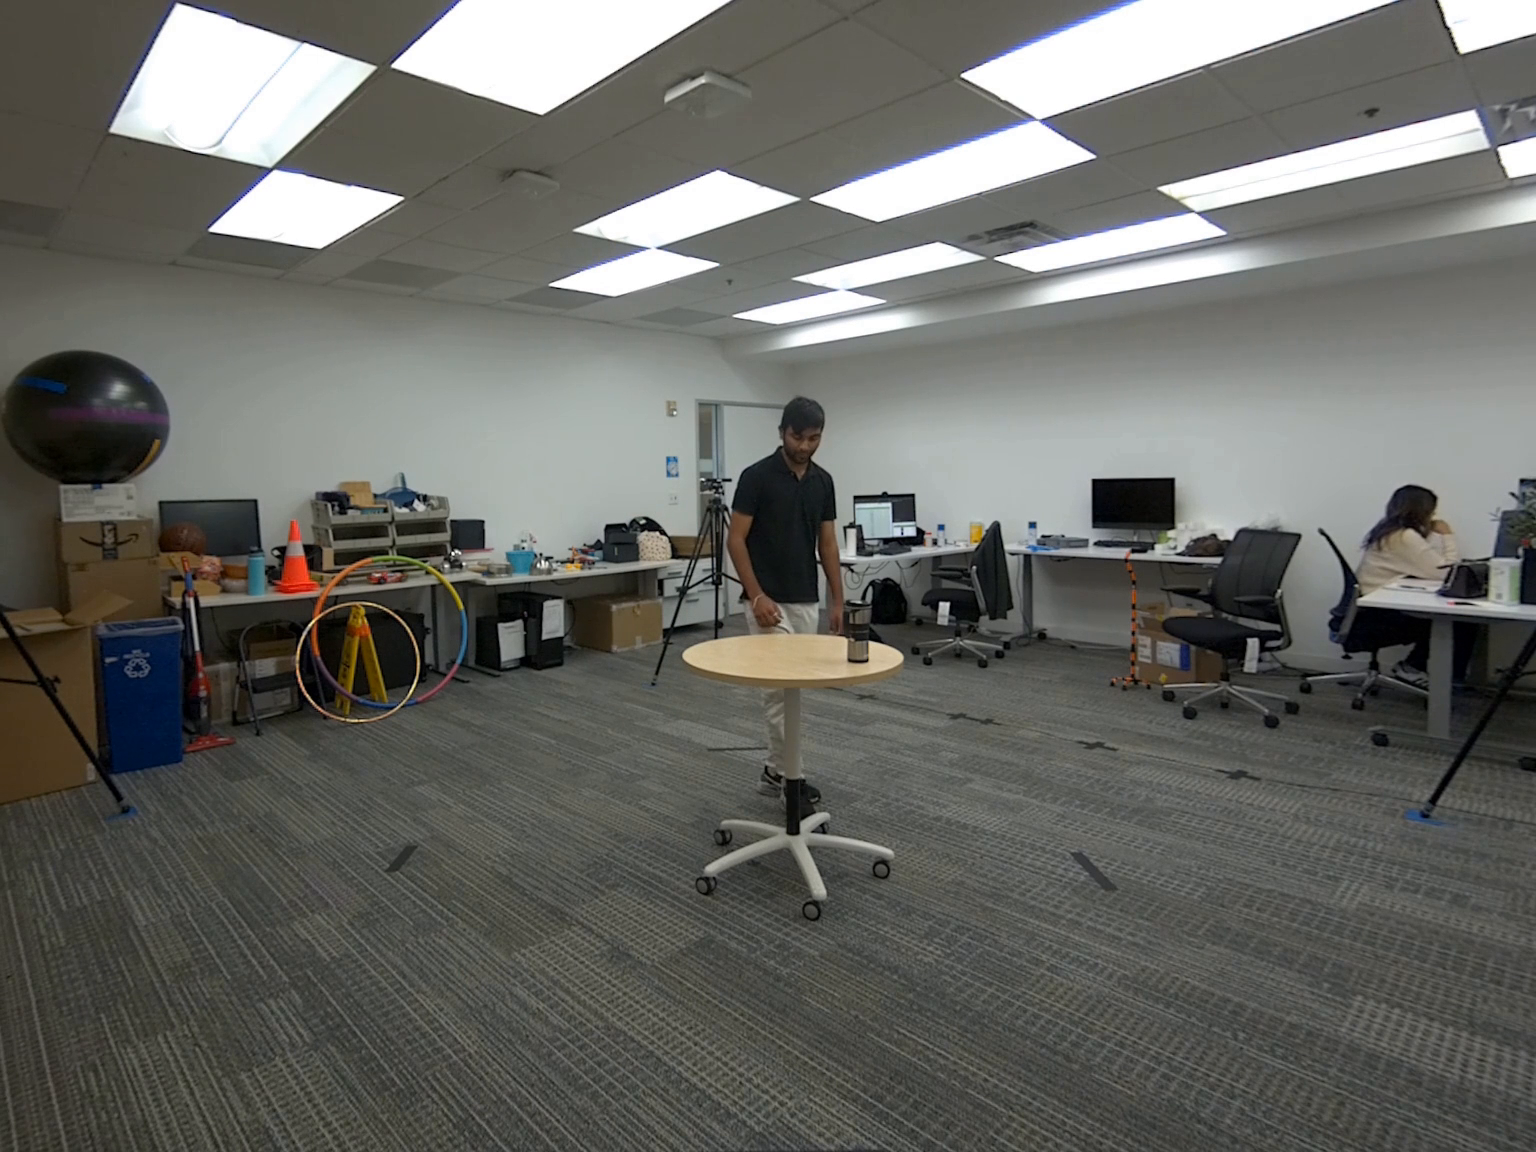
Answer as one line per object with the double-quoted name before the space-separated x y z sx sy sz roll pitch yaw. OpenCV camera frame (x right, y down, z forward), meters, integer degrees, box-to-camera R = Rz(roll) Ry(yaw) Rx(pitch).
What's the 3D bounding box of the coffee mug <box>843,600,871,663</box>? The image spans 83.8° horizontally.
"coffee mug" 0.286 0.188 2.846 0.119 0.202 0.090 0 6 -25
